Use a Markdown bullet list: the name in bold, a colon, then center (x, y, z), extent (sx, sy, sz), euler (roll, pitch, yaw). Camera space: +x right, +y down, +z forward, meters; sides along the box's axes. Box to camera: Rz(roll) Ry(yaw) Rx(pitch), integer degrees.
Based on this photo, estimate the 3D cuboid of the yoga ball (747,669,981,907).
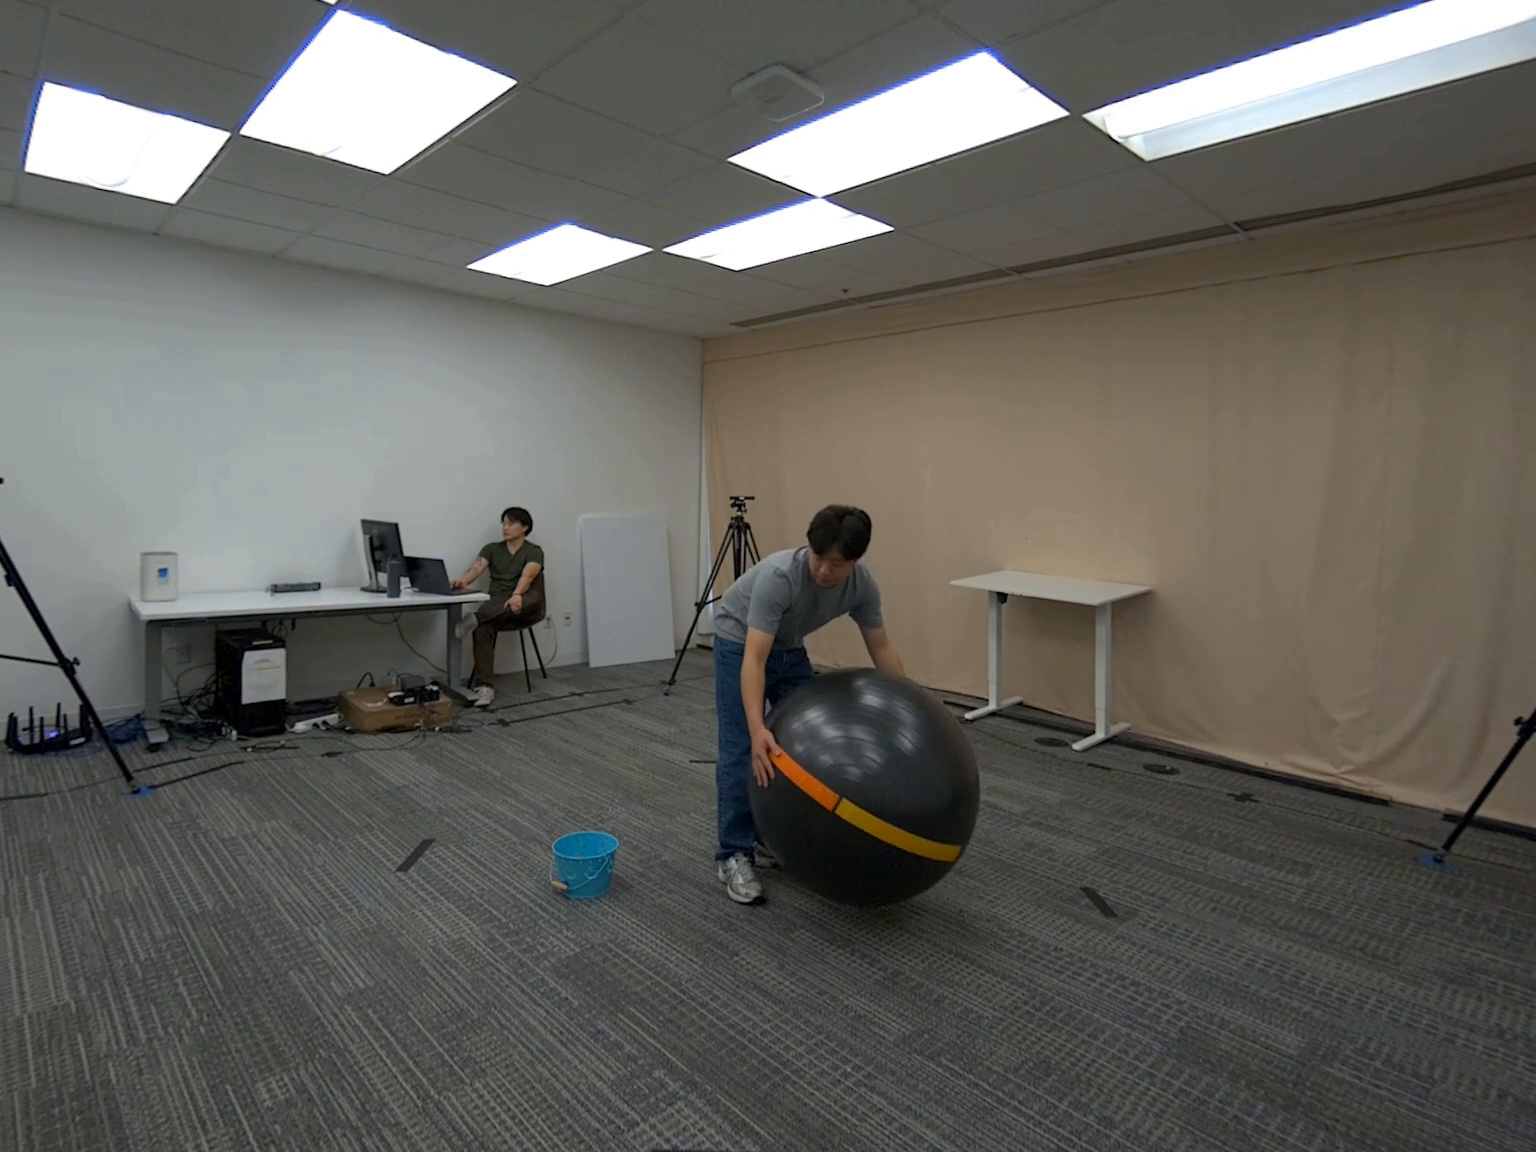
- **yoga ball**: center (0.293, 0.686, 2.788), extent (0.757, 0.756, 0.761), euler (1, 4, -1)
